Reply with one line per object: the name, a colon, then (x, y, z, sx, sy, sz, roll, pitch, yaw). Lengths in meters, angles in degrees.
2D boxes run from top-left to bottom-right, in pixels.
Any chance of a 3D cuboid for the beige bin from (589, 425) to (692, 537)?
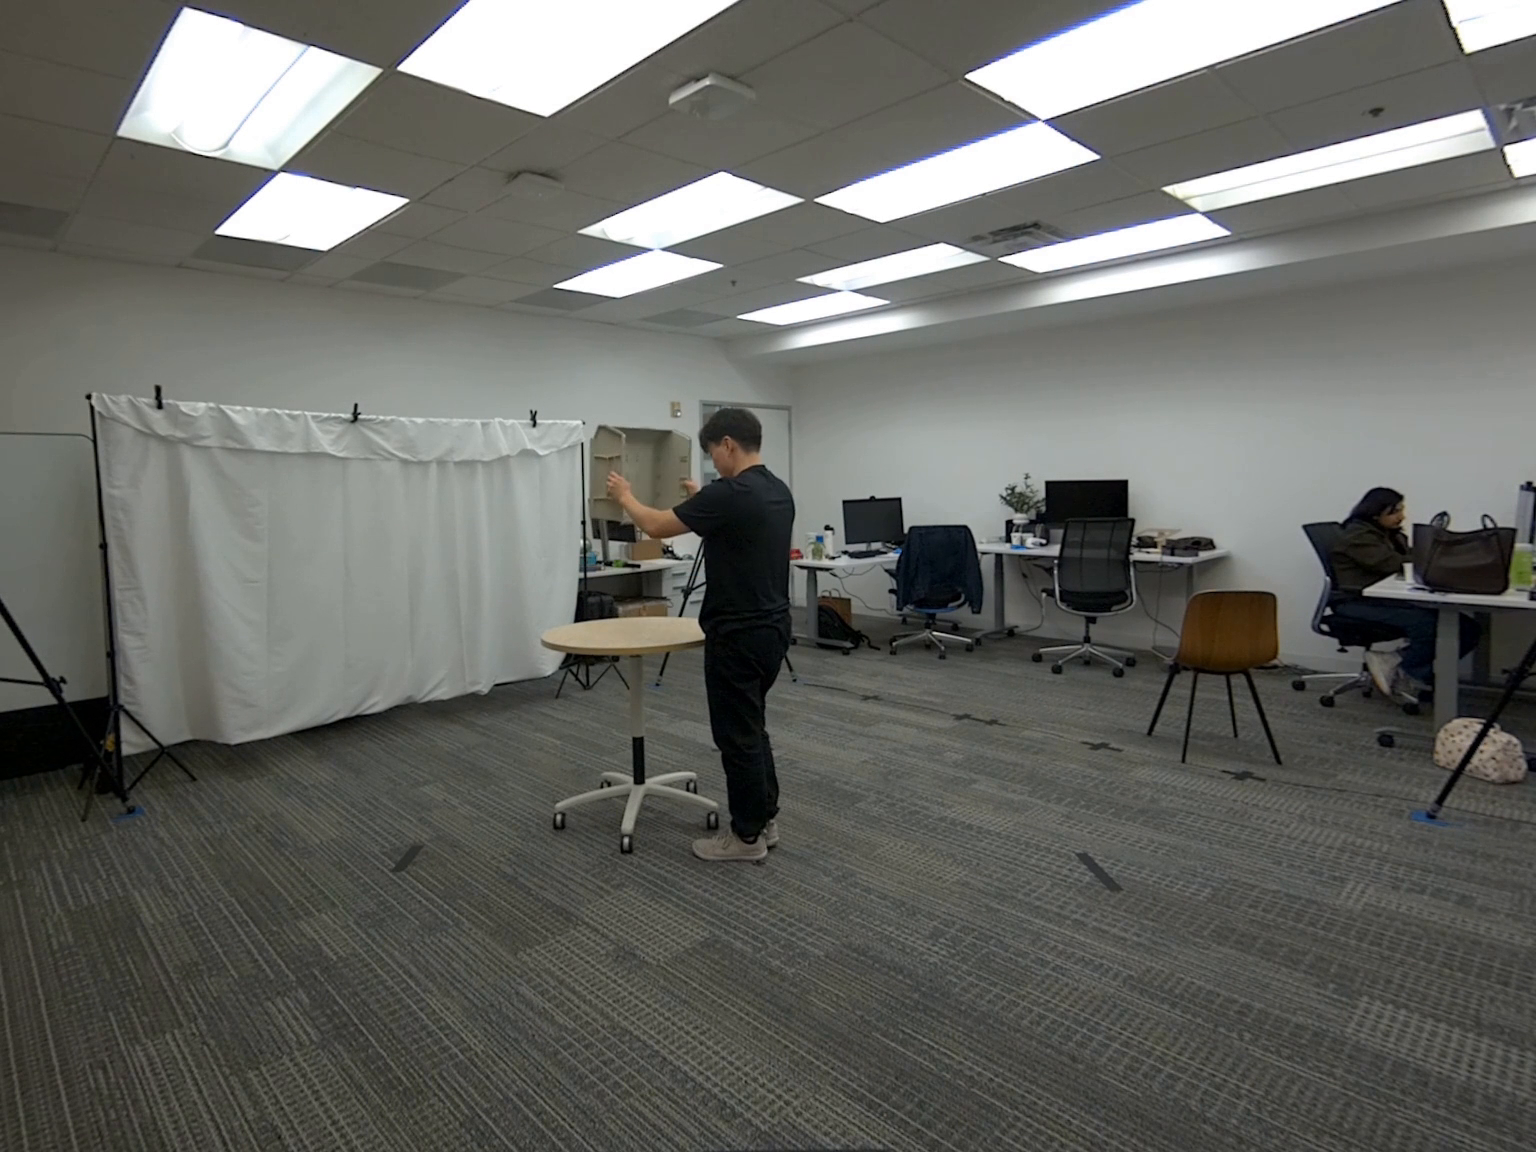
beige bin: (-0.512, -0.398, 3.447, 0.194, 0.375, 0.412, 6, 8, 34)
